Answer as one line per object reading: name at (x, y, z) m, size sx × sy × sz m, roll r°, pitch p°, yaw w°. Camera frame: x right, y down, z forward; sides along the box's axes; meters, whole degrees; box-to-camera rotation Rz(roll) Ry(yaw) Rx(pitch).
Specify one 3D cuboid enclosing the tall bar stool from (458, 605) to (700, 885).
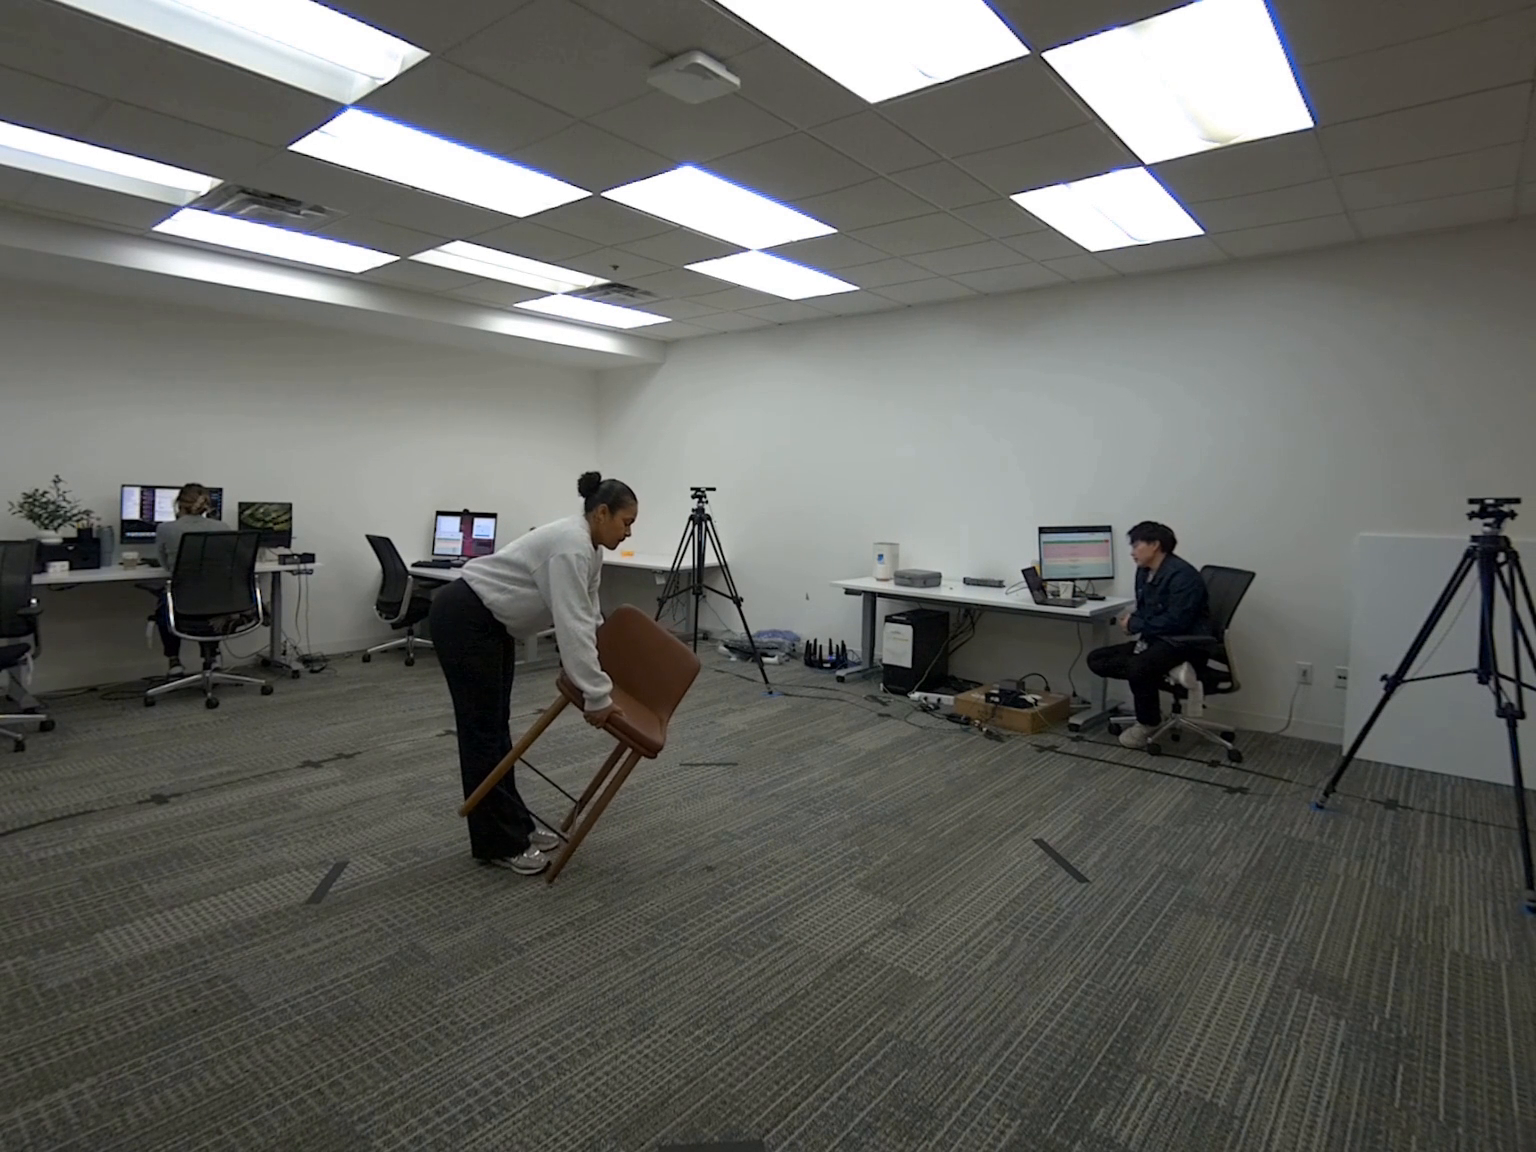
tall bar stool at (-0.664, 0.578, 3.135) m, size 0.455 × 0.890 × 0.470 m, roll 38°, pitch -2°, yaw -4°
